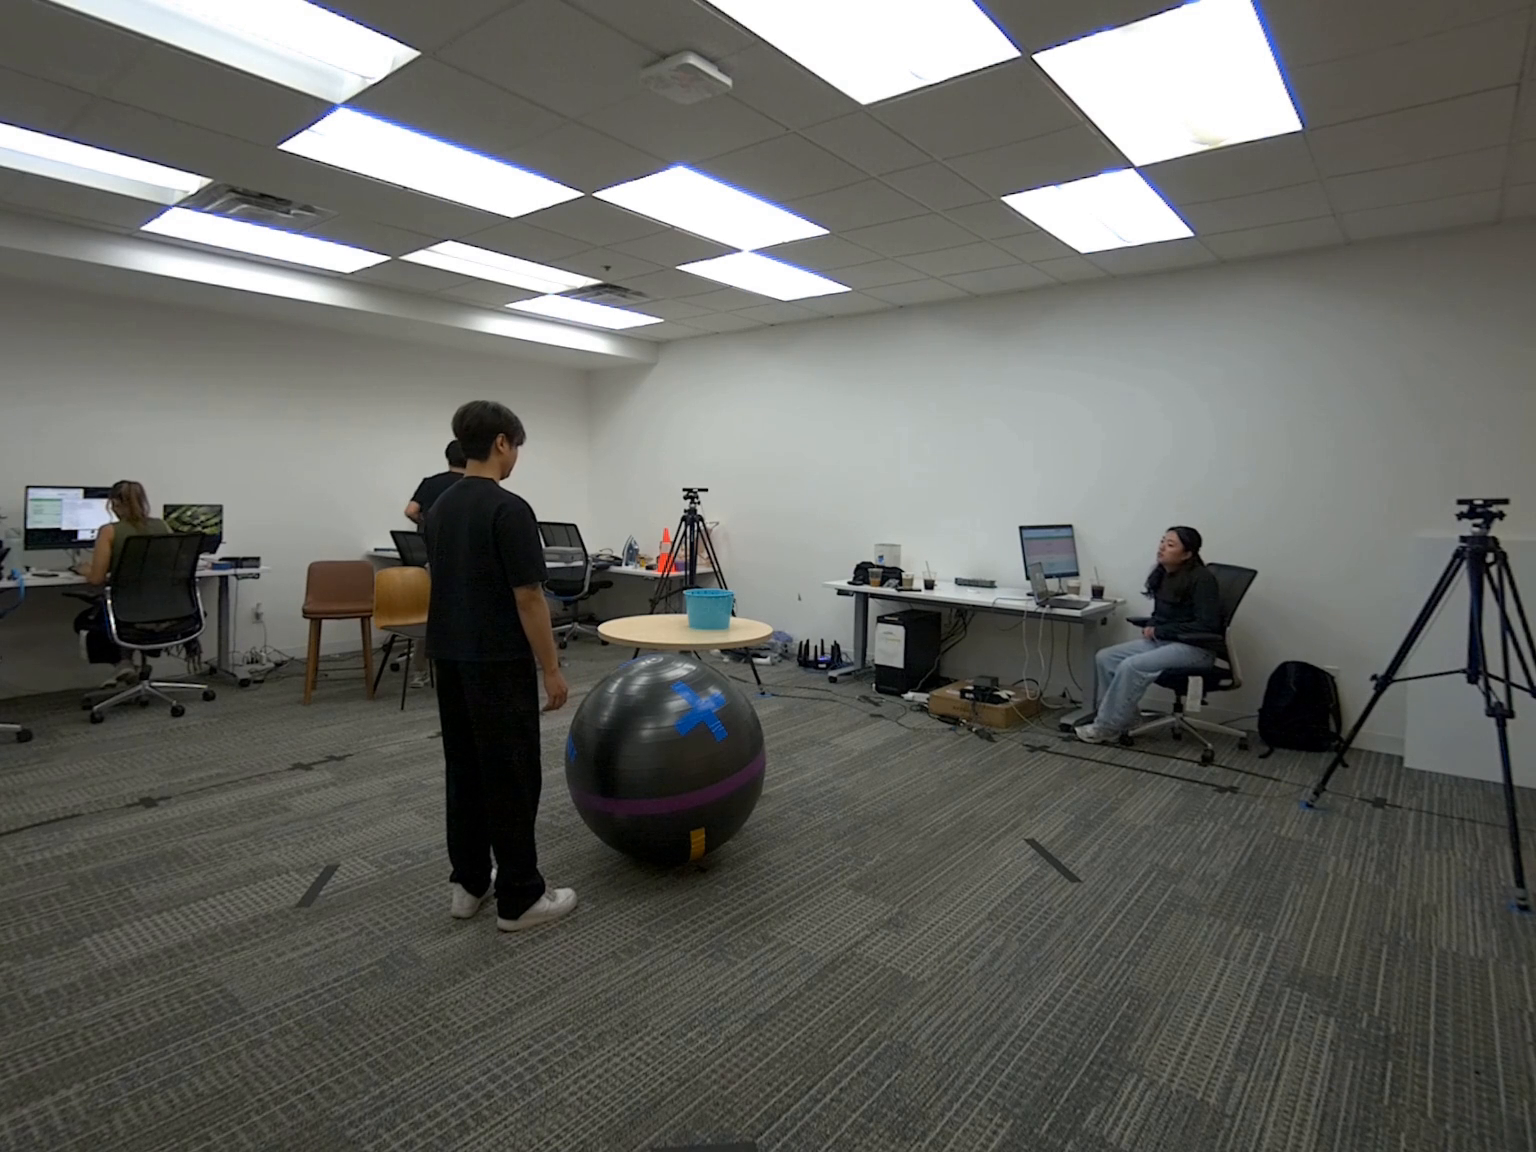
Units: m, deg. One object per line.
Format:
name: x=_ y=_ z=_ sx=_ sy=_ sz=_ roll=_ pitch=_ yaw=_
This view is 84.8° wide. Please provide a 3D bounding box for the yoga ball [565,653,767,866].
yoga ball: x=-0.396 y=0.684 z=3.213 sx=0.757 sy=0.755 sz=0.762 roll=1 pitch=4 yaw=-2
